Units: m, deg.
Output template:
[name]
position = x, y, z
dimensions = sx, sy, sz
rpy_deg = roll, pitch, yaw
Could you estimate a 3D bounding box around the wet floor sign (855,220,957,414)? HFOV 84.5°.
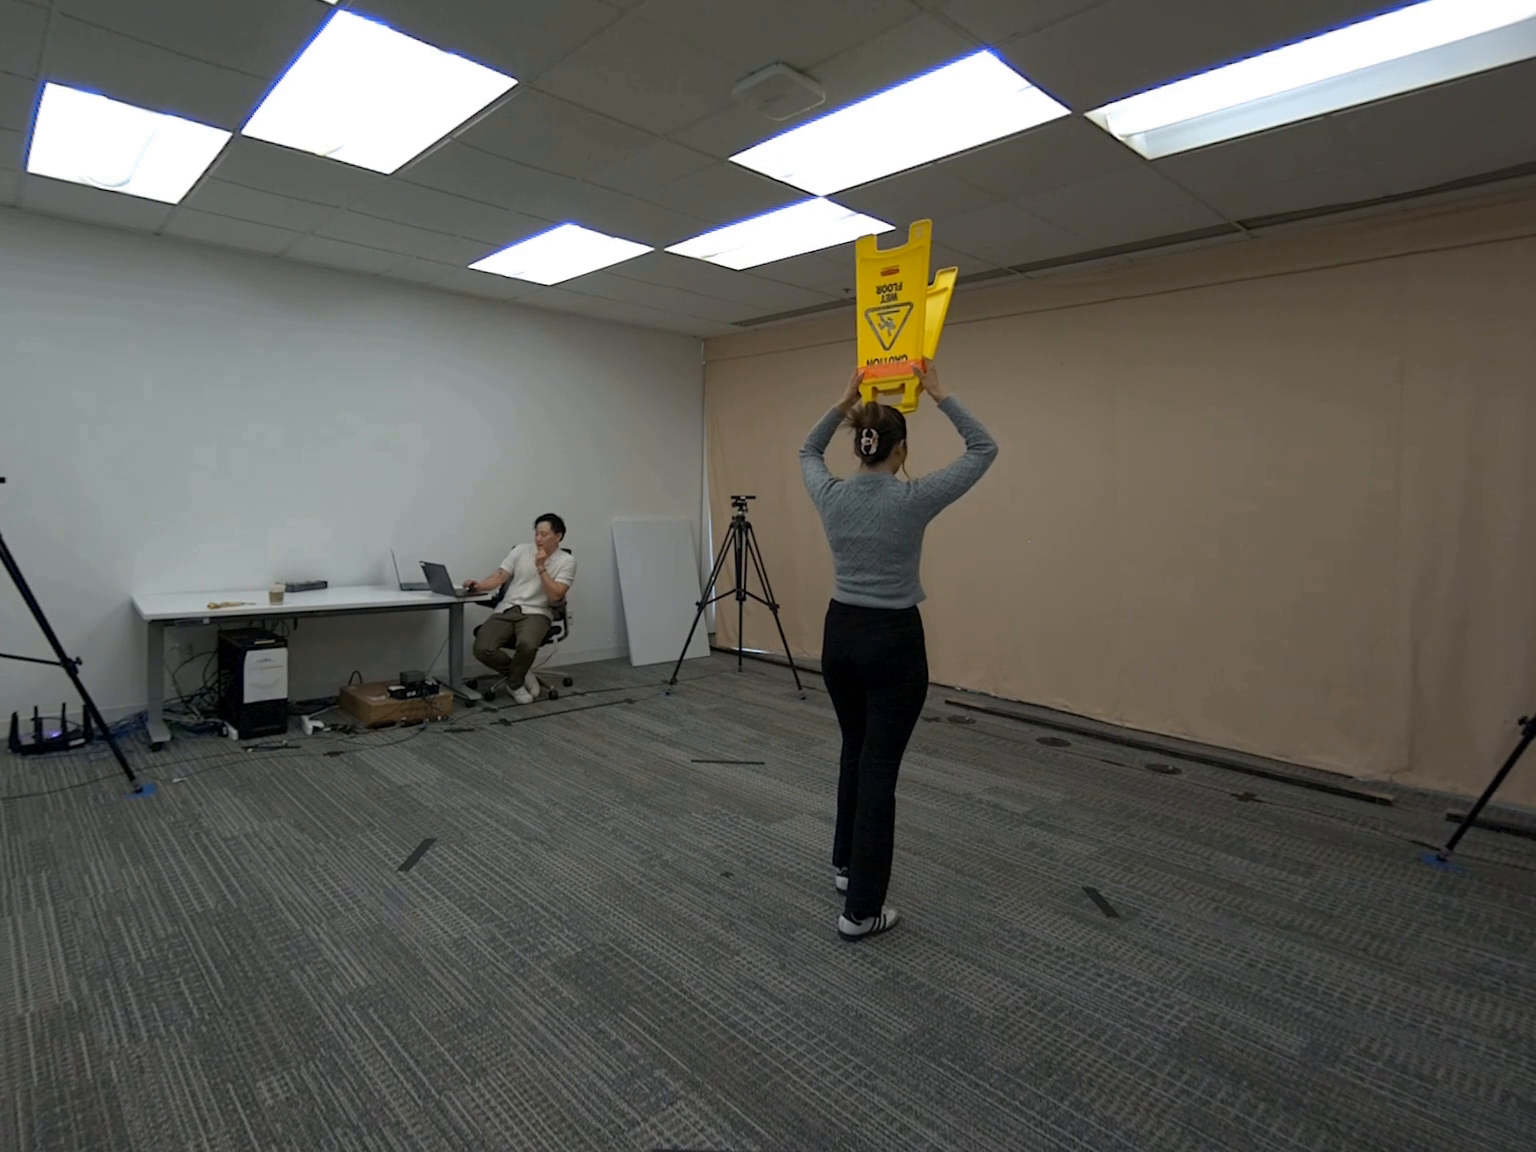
[wet floor sign]
position = 0.451, -0.858, 2.950
dimensions = 0.288, 0.652, 0.281
rpy_deg = -1, -19, 33
